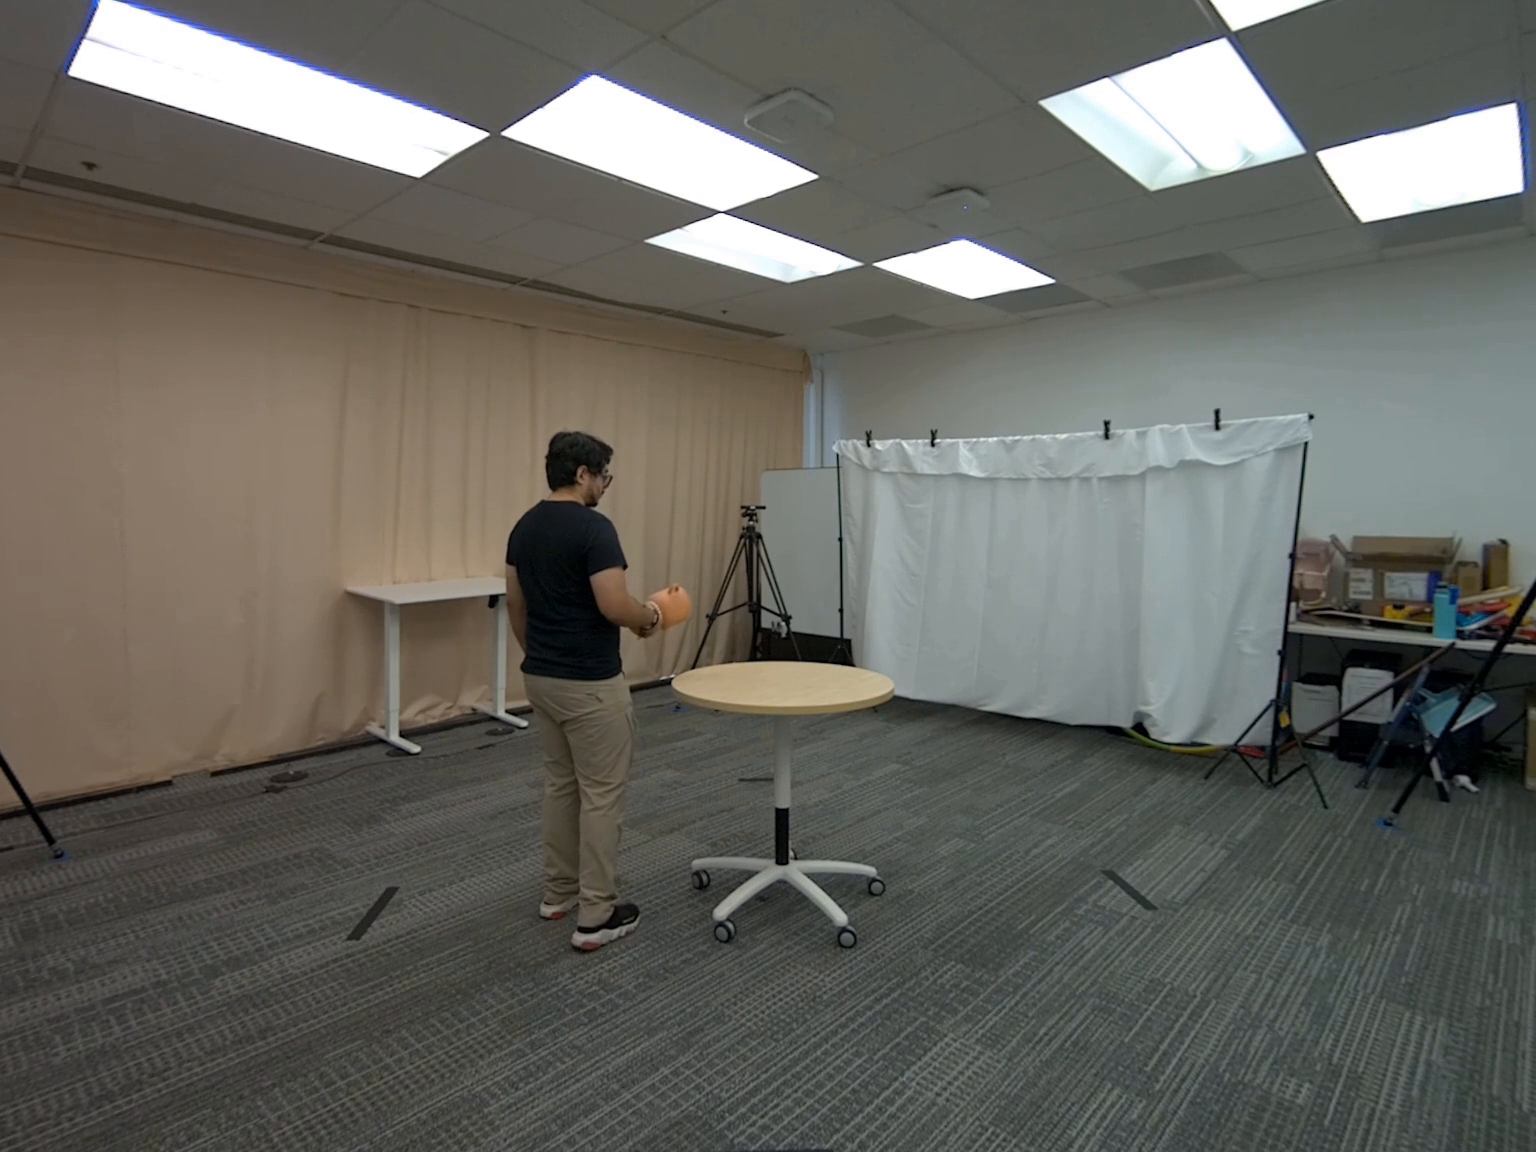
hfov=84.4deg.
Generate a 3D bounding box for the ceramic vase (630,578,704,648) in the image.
[{"bbox_3d":[-0.376,0.128,2.999,0.138,0.158,0.215,-16,6,45],"label":"ceramic vase"}]
